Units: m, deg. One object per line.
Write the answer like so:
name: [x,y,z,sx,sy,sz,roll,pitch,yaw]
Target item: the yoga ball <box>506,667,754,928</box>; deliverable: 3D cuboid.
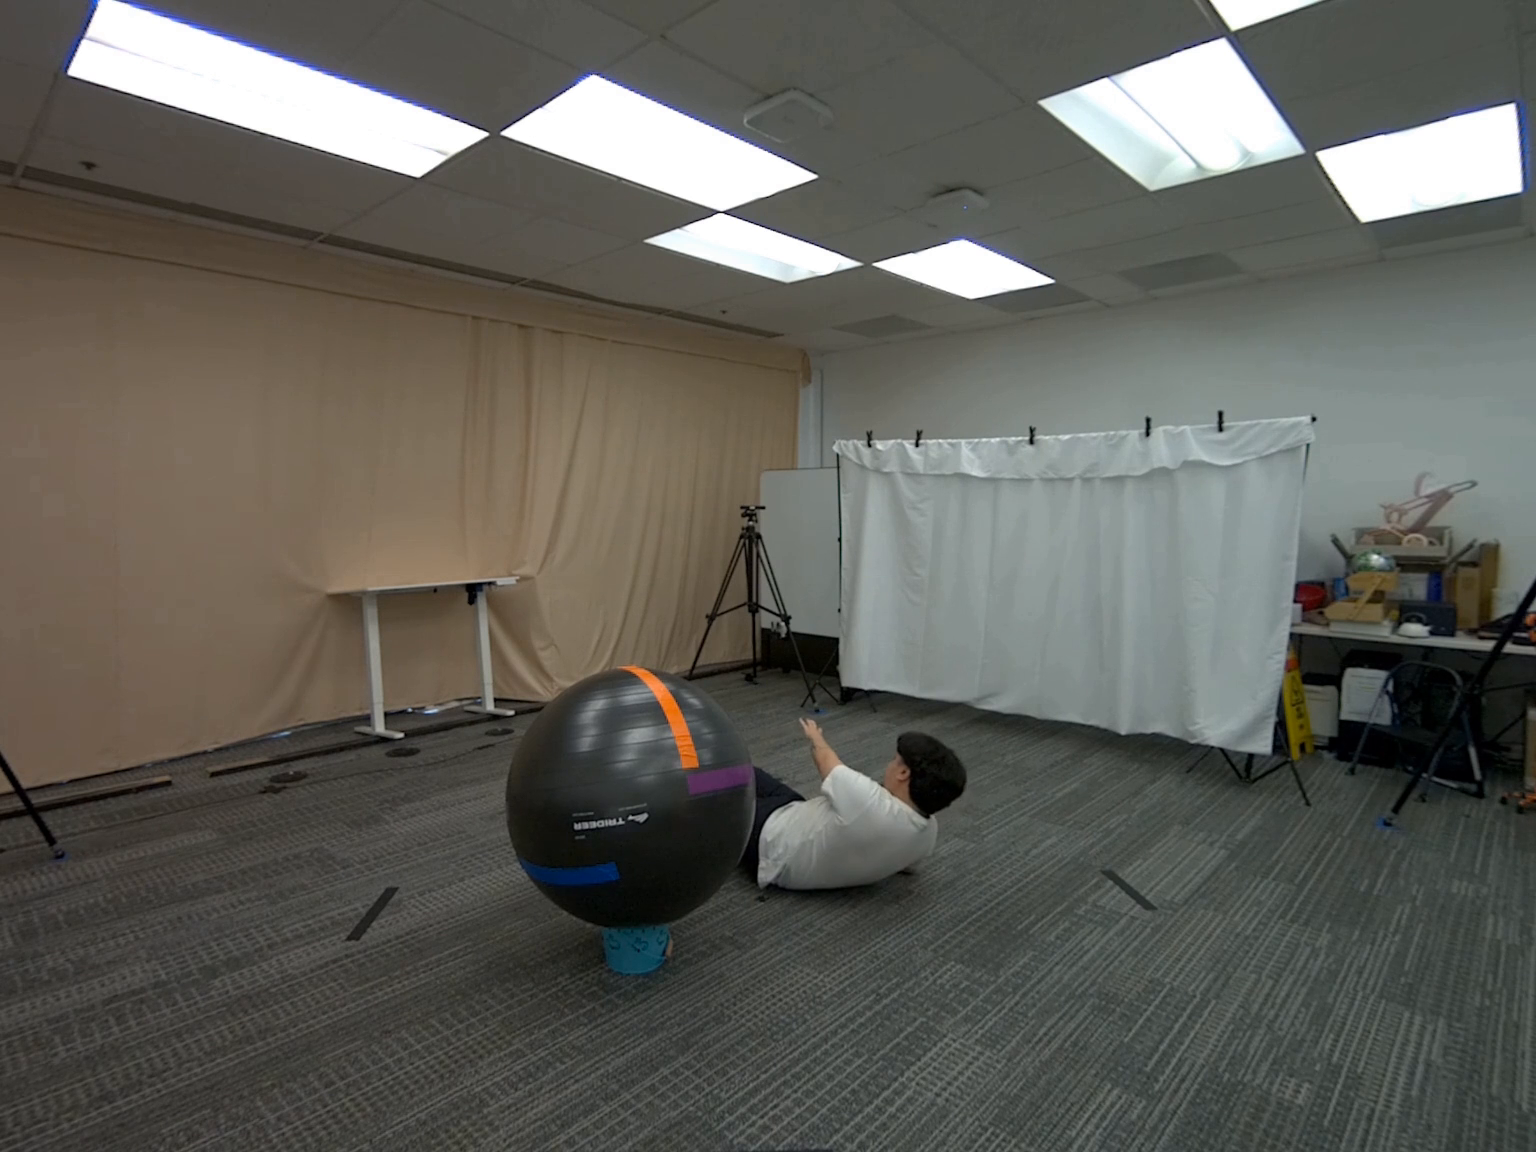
yoga ball: [-0.429,0.669,2.573,0.757,0.756,0.761,0,4,-2]
